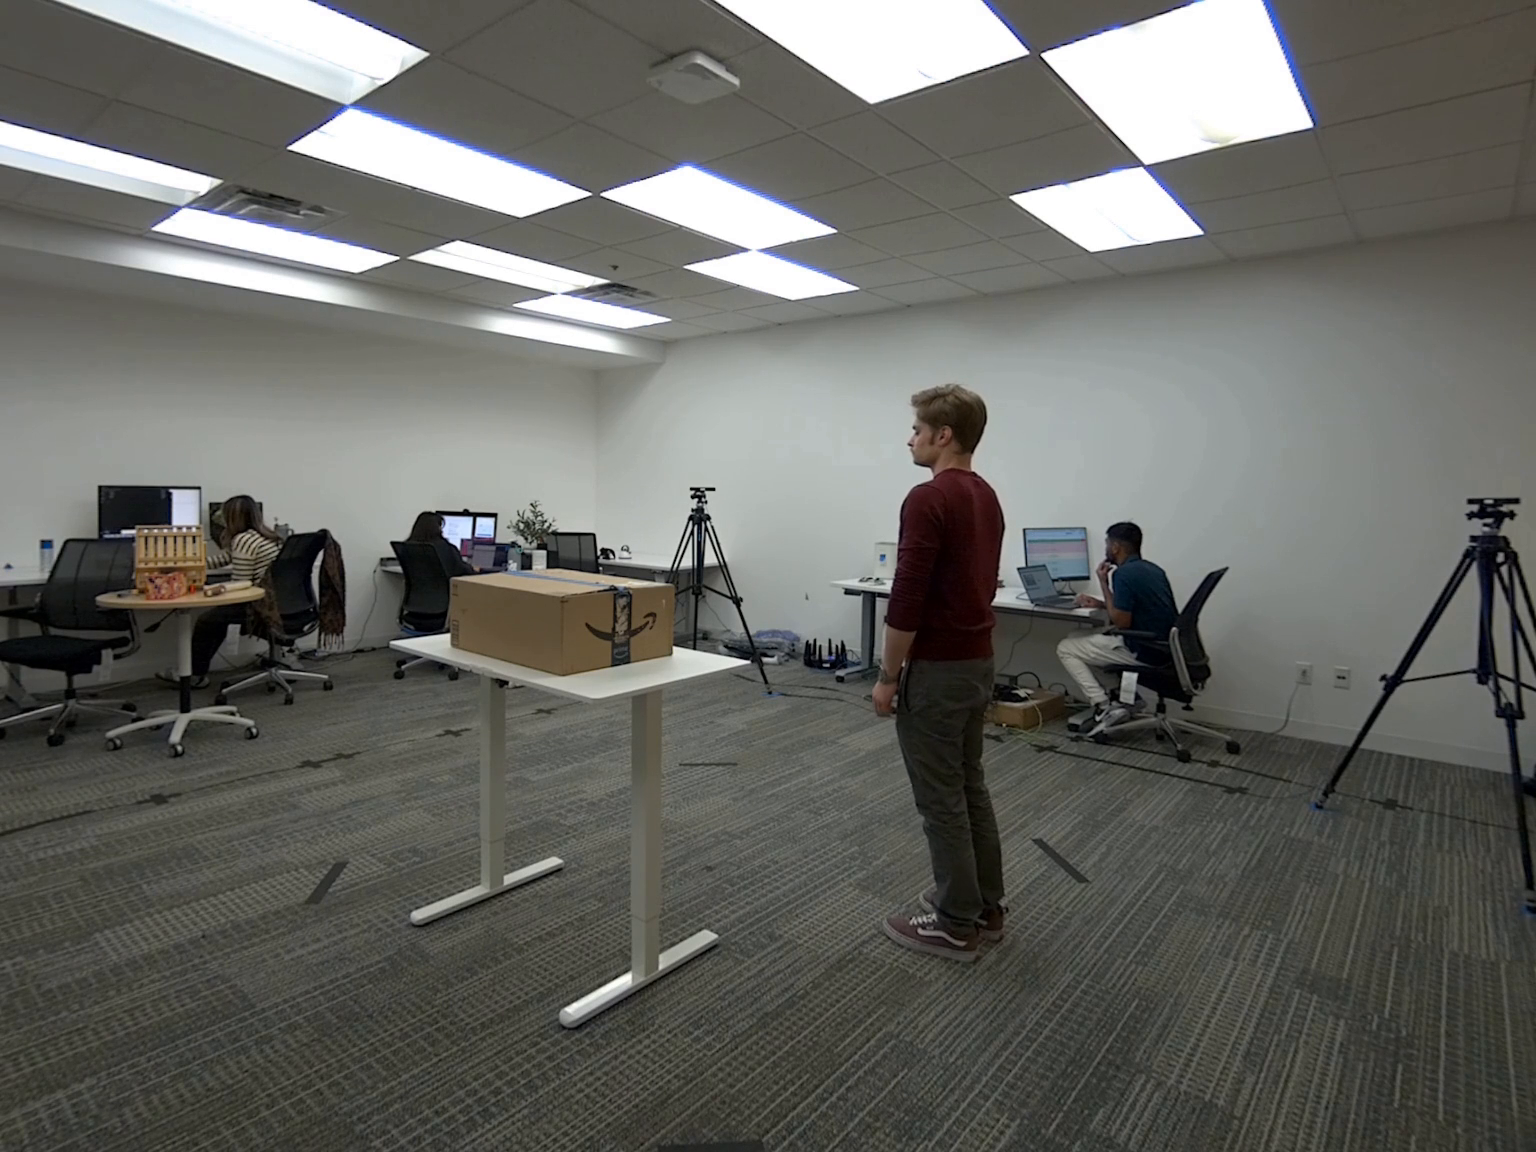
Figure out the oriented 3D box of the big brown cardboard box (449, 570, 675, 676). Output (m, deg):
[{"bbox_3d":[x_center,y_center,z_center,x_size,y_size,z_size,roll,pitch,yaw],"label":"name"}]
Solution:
[{"bbox_3d":[-0.640,0.122,2.588,0.609,0.232,0.405,5,7,40],"label":"big brown cardboard box"}]
